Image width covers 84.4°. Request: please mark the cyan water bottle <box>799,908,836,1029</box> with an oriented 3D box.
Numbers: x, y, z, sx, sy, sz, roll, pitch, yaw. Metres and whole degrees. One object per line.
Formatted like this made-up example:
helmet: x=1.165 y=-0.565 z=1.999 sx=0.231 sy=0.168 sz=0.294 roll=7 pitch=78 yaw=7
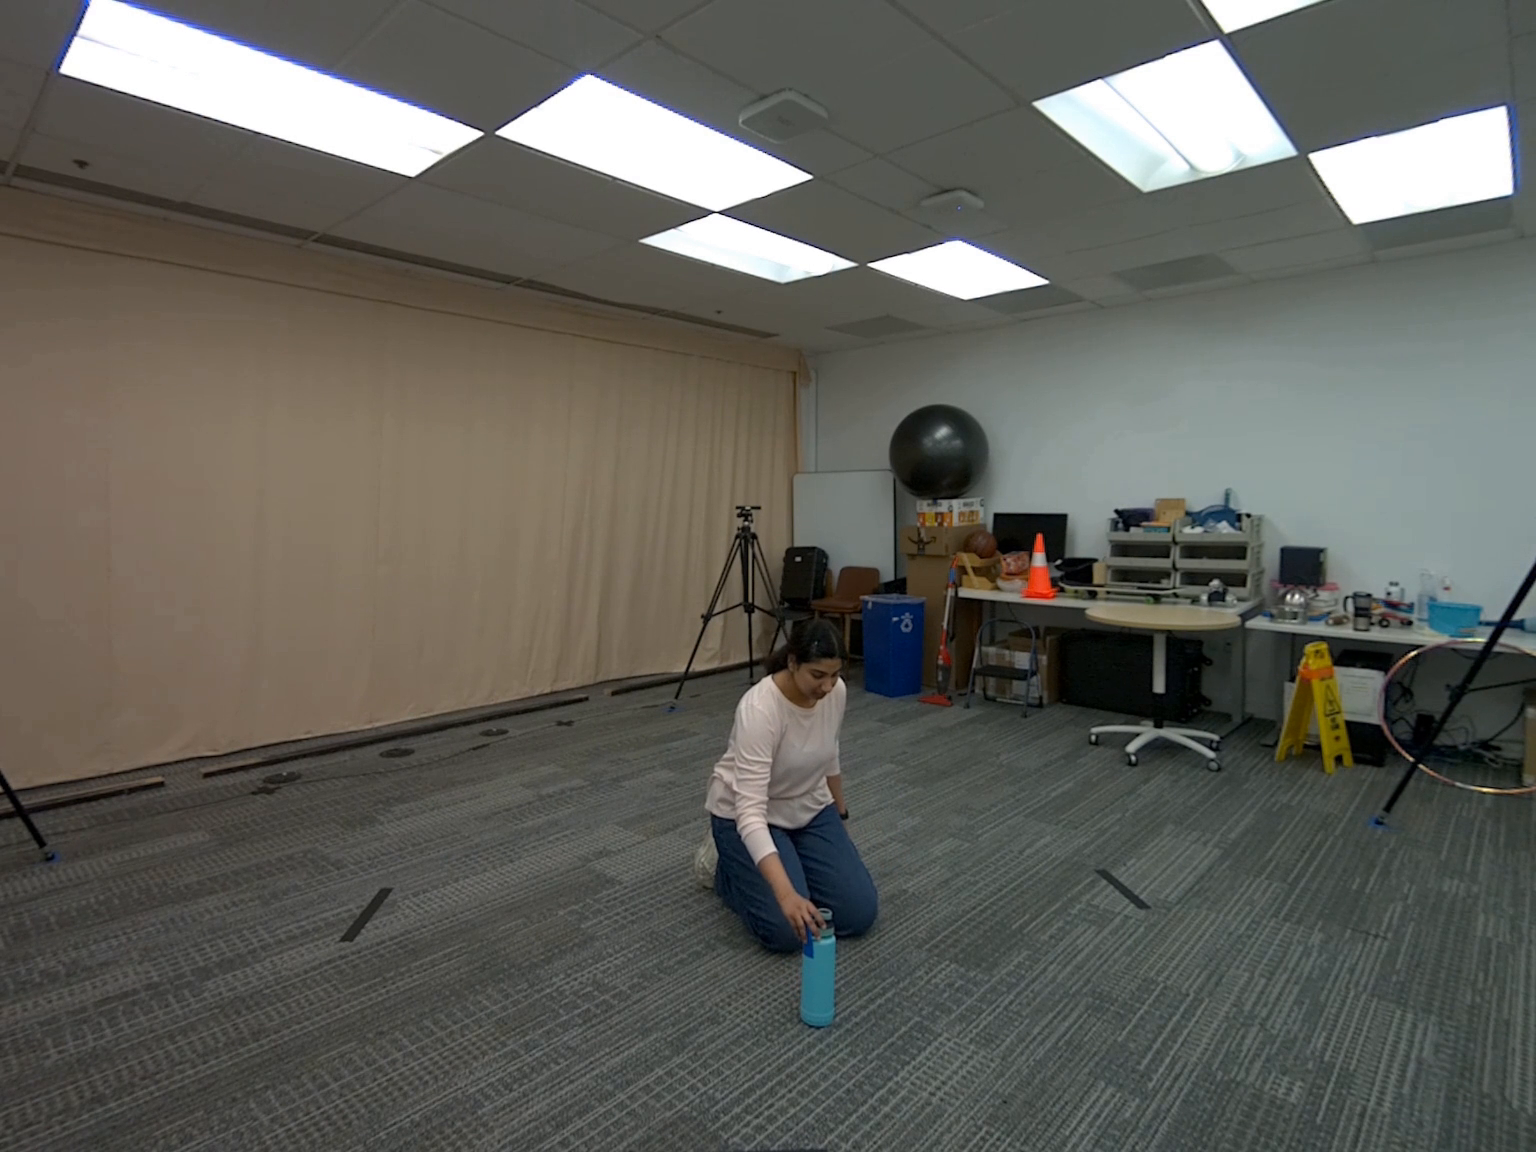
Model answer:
cyan water bottle: x=0.136 y=1.050 z=2.288 sx=0.092 sy=0.284 sz=0.092 roll=3 pitch=-2 yaw=-2
